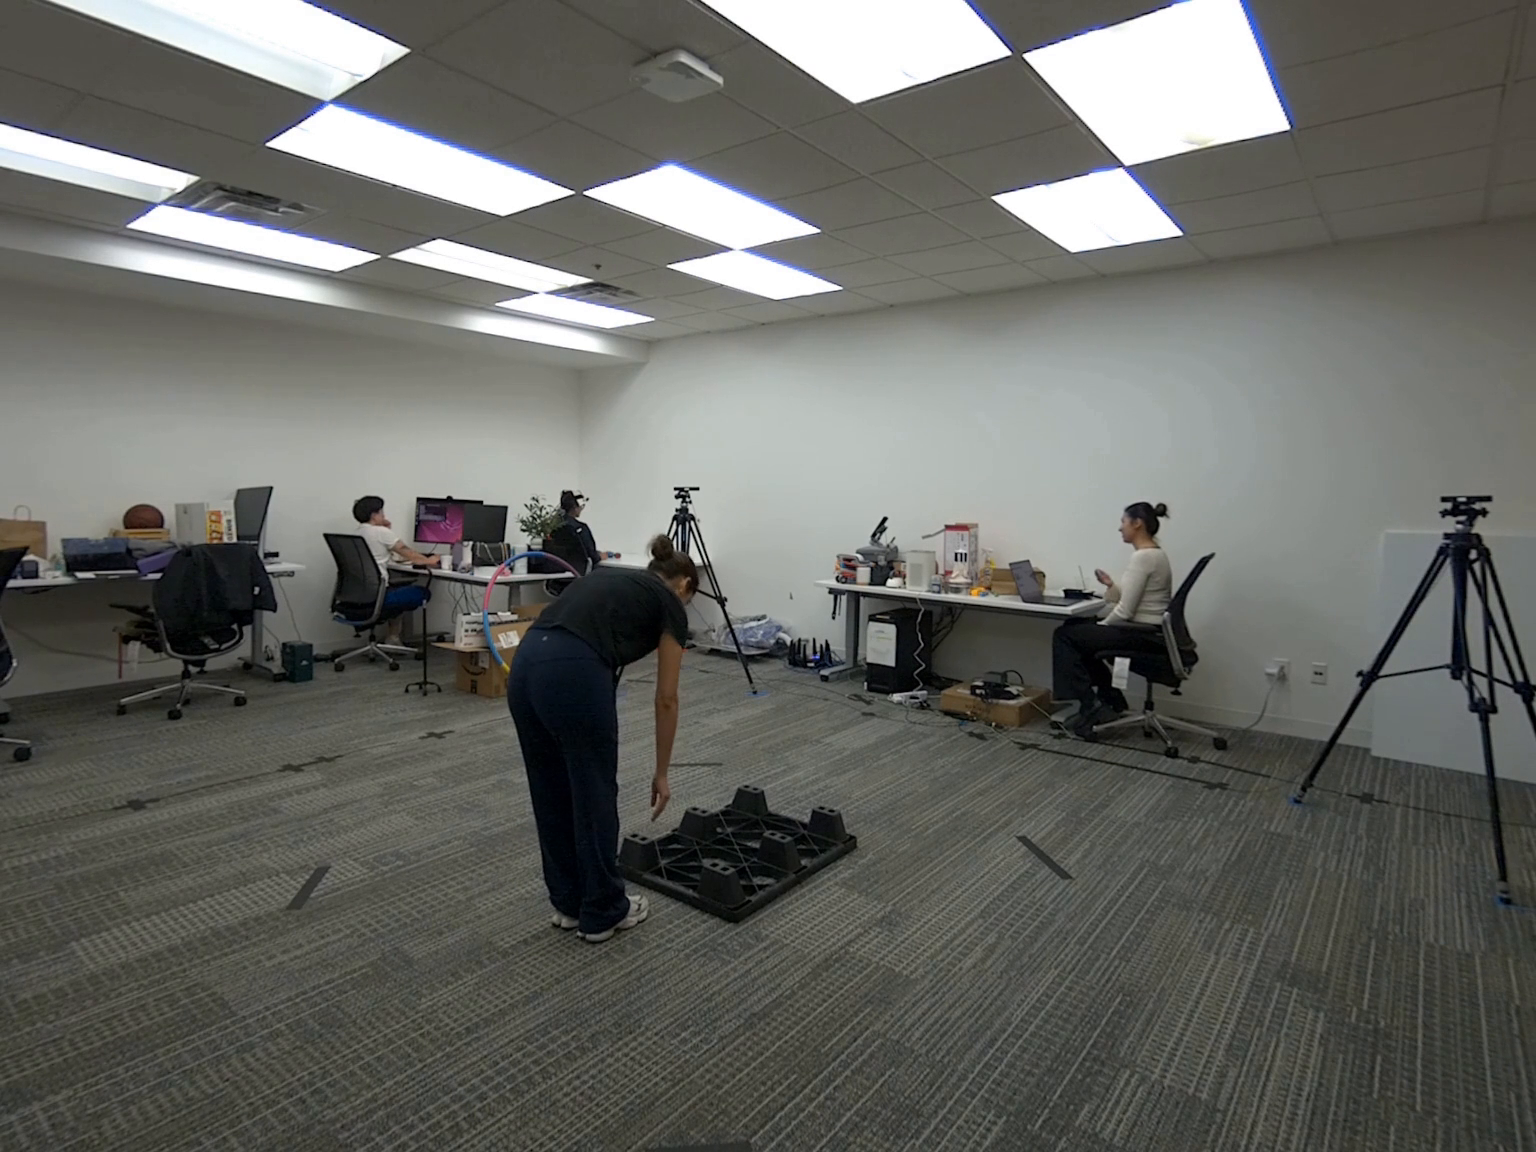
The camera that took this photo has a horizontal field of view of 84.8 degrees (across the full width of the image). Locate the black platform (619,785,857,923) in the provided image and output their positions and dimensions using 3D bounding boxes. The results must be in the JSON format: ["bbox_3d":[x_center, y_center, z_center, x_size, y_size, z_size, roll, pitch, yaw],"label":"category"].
[{"bbox_3d":[-0.103,0.991,3.213,0.625,0.143,0.782,5,7,37],"label":"black platform"}]
